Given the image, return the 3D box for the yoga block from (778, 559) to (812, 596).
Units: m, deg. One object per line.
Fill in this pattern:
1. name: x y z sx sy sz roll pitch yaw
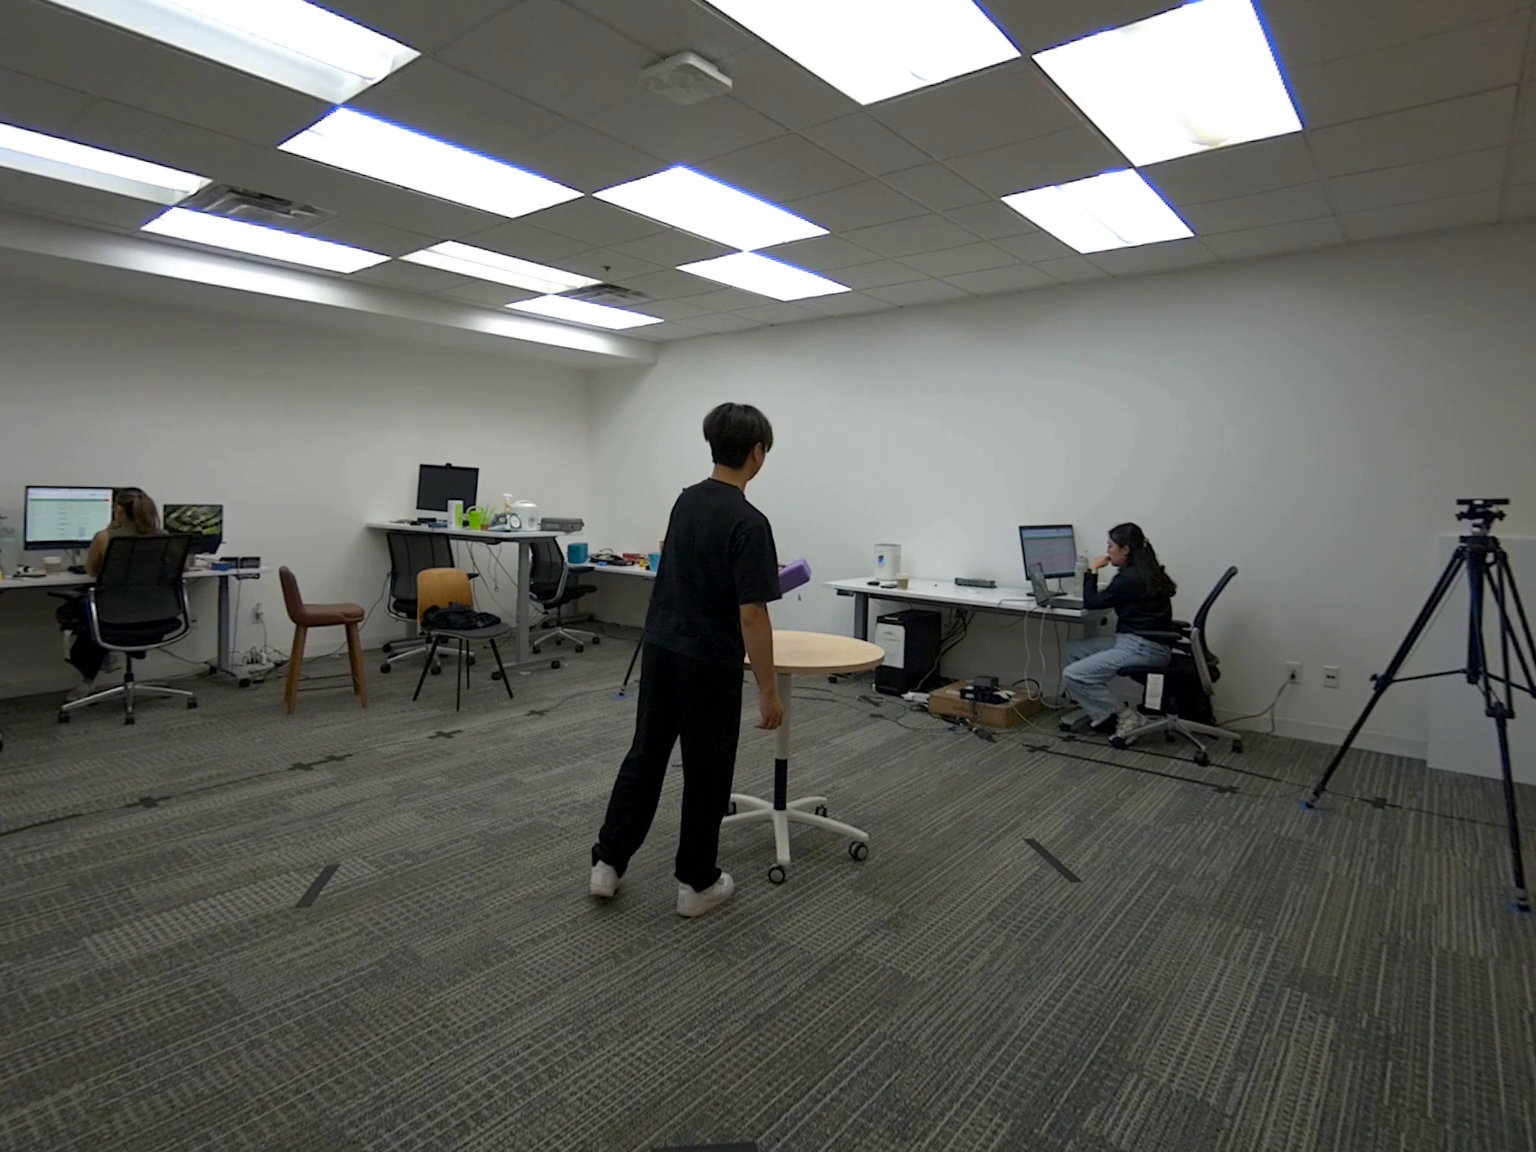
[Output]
1. yoga block: 0.044 0.016 3.315 0.230 0.076 0.149 -27 7 11
